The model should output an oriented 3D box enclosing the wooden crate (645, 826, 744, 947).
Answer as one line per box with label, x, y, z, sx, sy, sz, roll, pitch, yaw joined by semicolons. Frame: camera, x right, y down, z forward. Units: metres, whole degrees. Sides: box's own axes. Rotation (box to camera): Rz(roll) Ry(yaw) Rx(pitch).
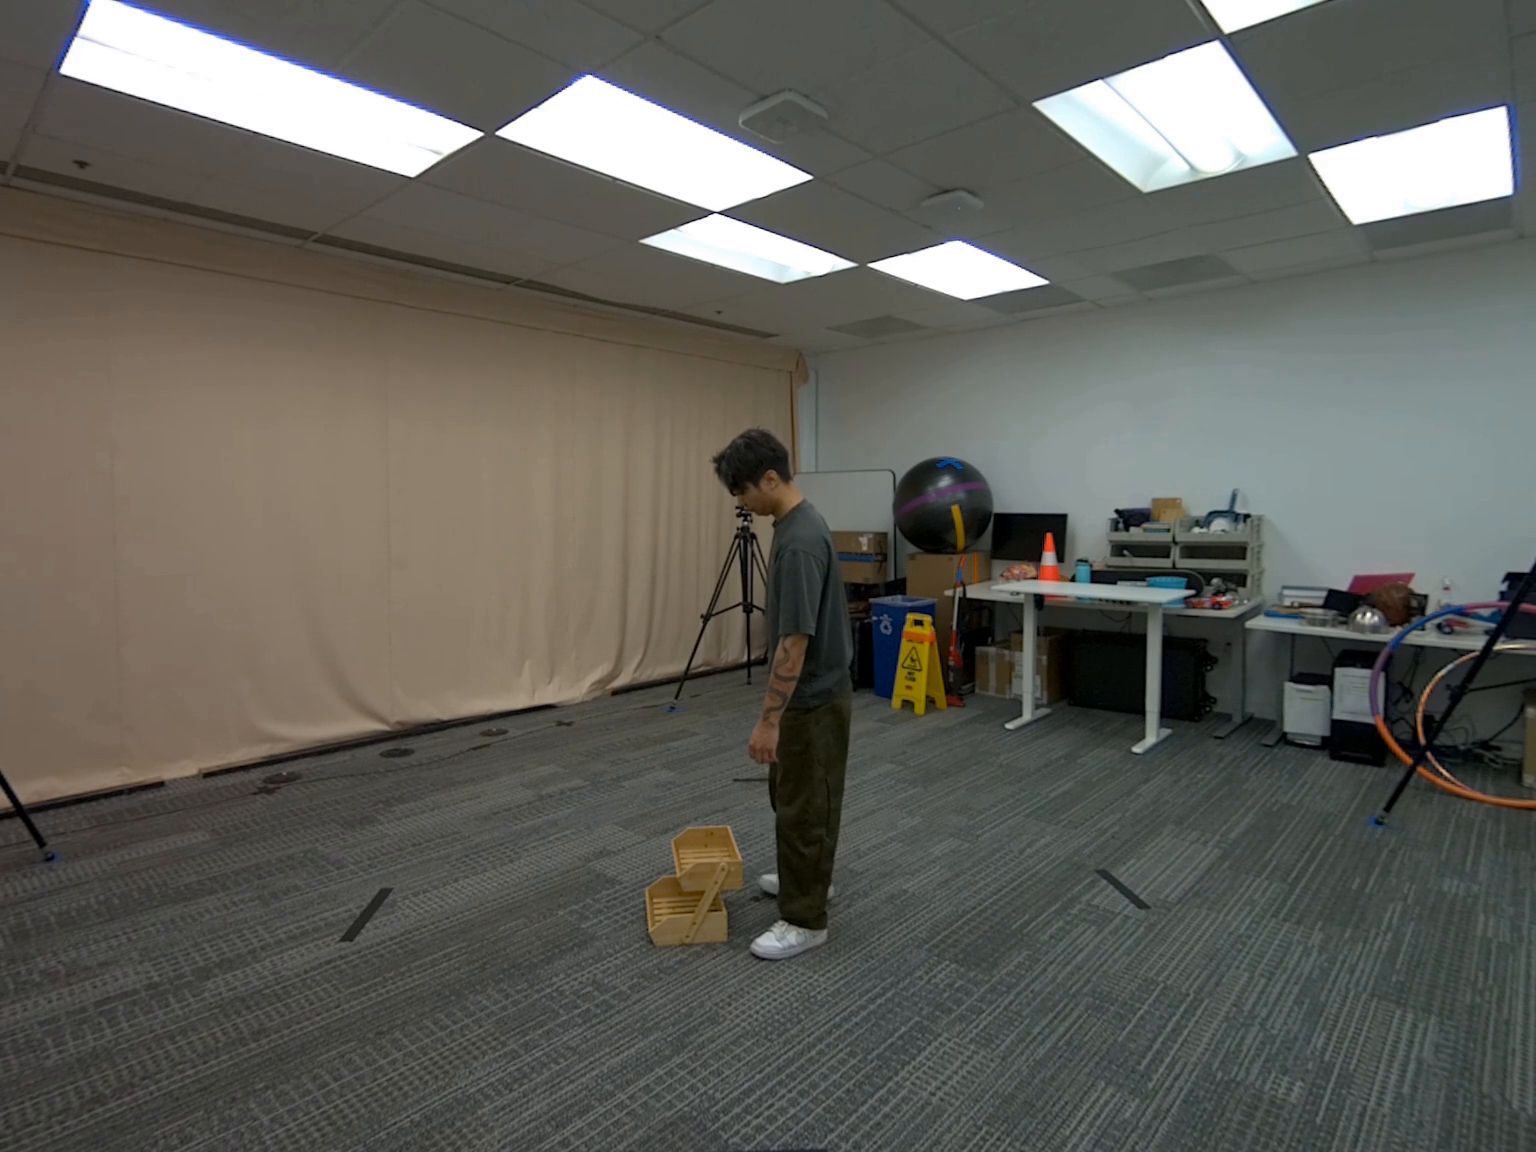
wooden crate;-0.258;1.030;2.819;0.299;0.273;0.328;-1;4;-9
